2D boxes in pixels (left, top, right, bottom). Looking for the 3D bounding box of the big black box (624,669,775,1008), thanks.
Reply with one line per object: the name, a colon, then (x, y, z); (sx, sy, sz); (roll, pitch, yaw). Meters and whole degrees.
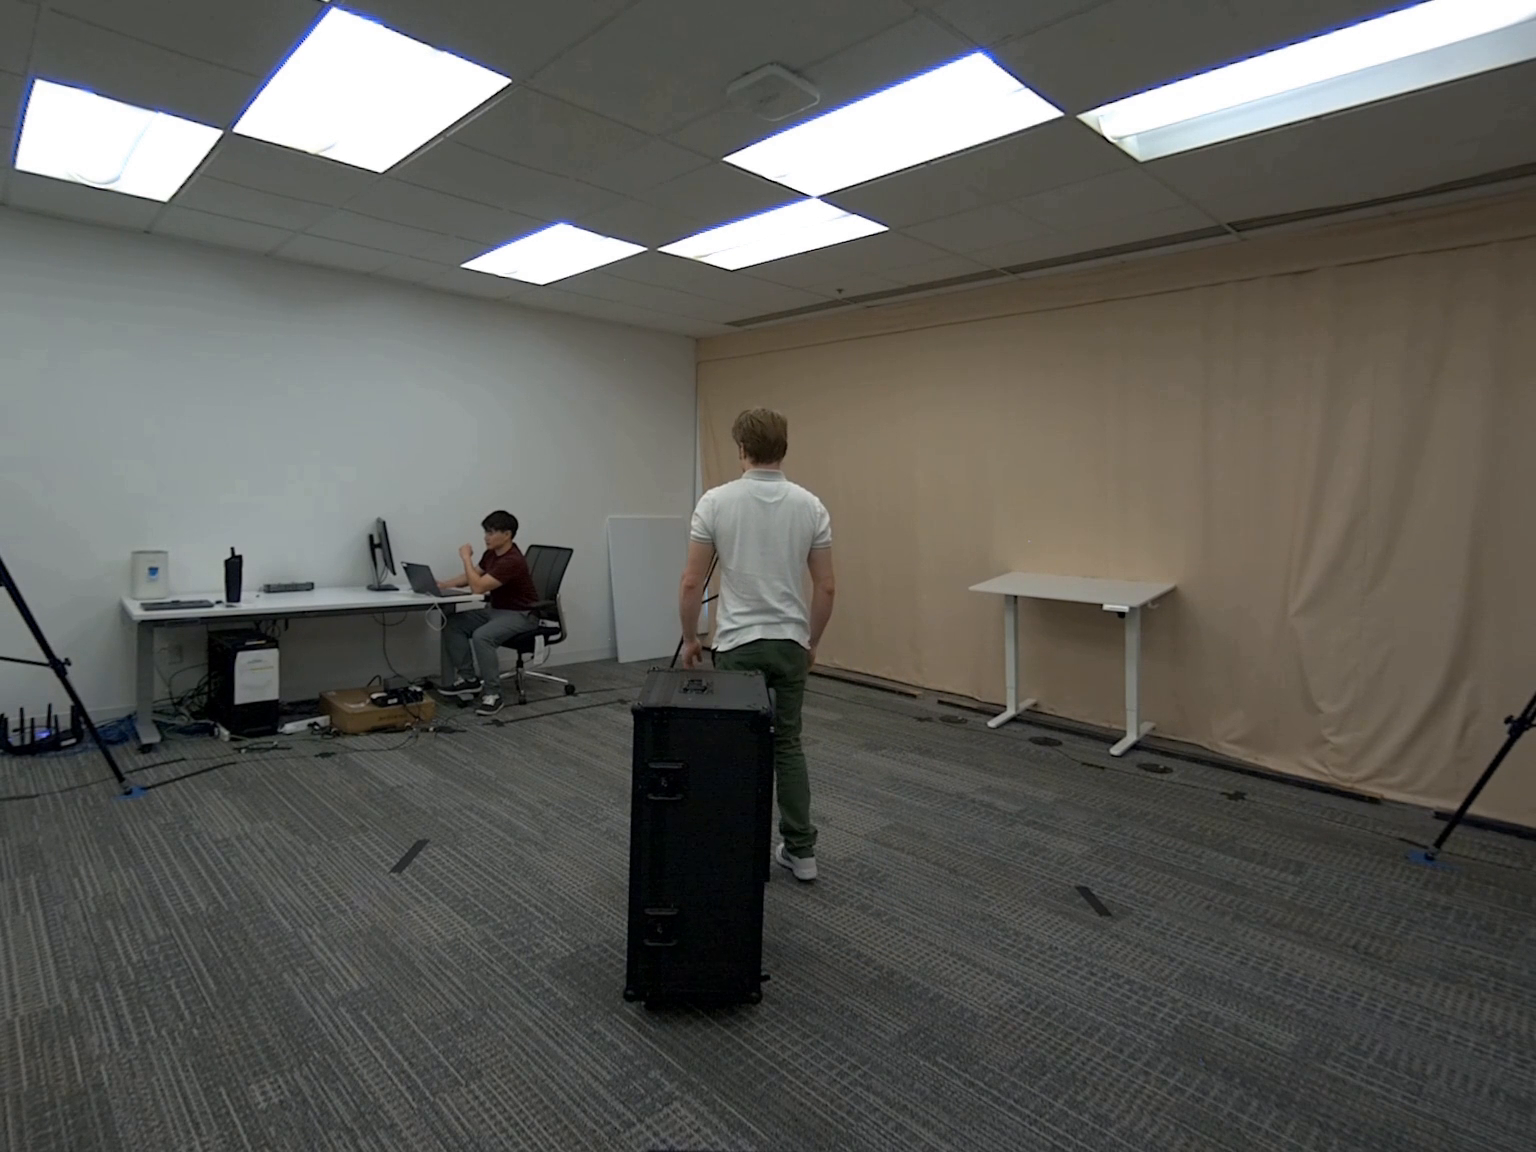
big black box: (-0.199, 0.748, 2.412); (0.396, 0.859, 0.523); (2, 4, -1)
